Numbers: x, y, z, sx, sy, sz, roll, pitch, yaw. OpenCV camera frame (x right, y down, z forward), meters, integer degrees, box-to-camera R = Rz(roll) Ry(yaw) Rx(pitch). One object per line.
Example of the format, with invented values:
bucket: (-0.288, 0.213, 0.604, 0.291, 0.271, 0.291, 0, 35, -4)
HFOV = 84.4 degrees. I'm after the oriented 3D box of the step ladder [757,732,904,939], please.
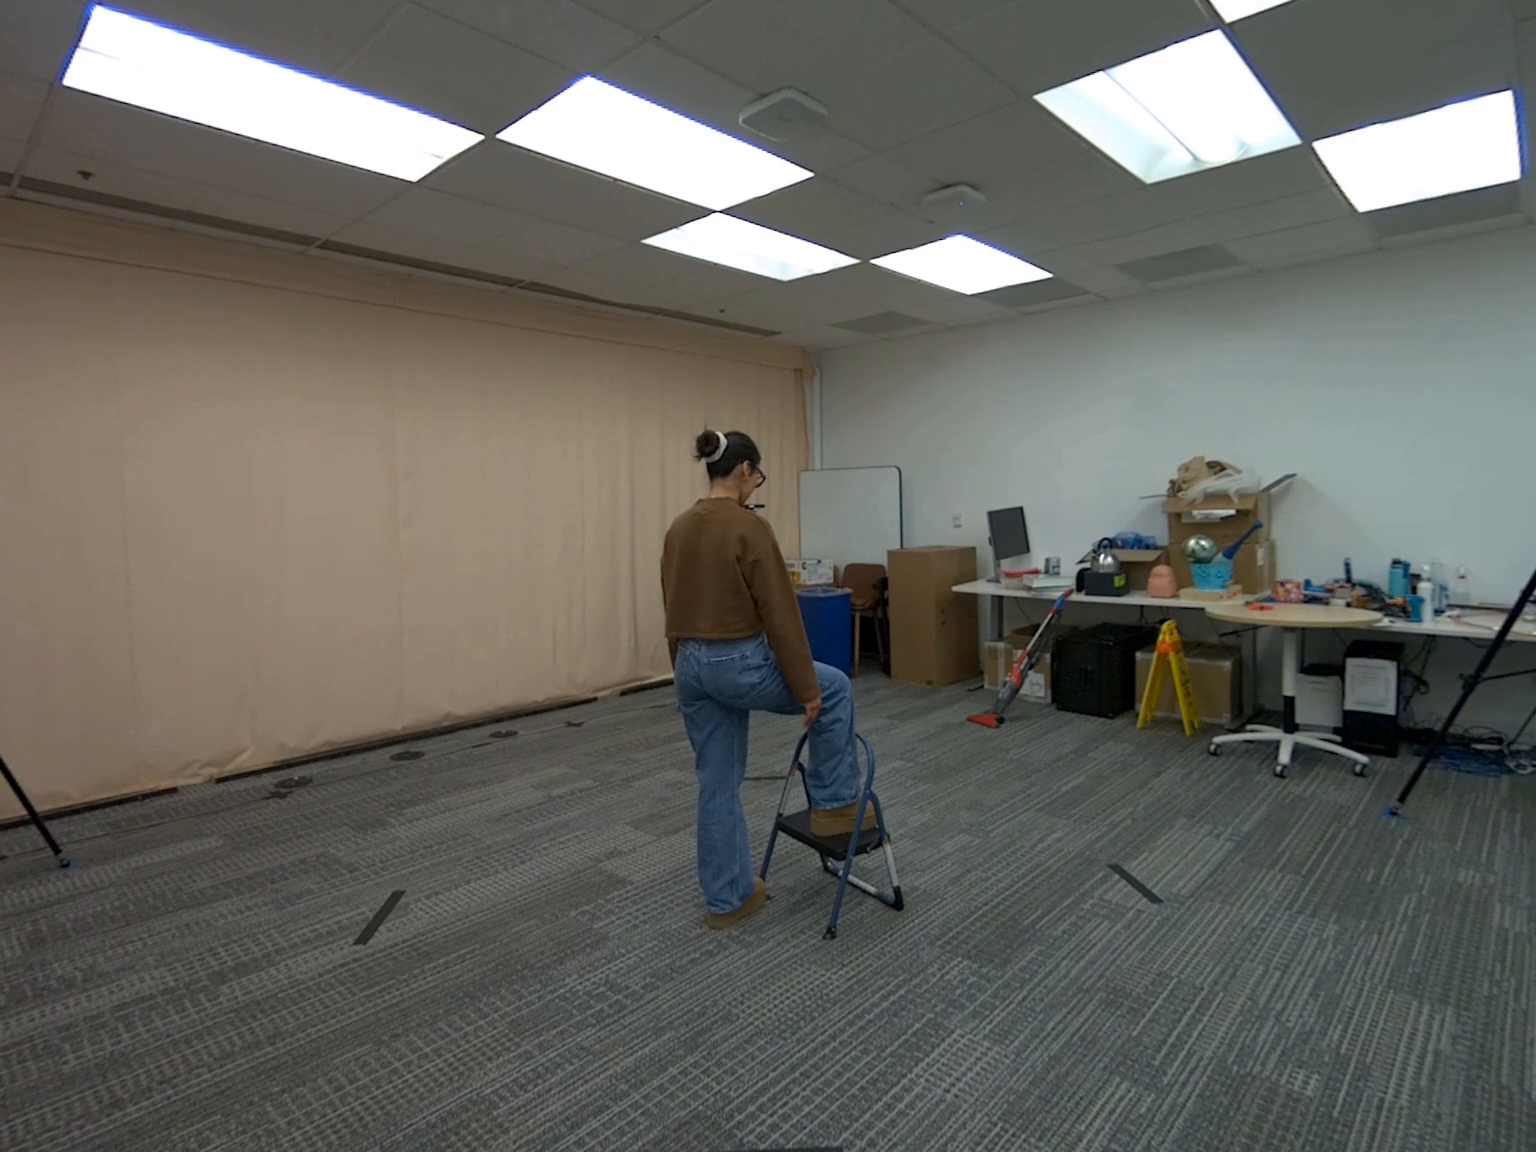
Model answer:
step ladder: (0.207, 0.837, 2.939, 0.339, 0.605, 0.444, -3, 4, -35)
